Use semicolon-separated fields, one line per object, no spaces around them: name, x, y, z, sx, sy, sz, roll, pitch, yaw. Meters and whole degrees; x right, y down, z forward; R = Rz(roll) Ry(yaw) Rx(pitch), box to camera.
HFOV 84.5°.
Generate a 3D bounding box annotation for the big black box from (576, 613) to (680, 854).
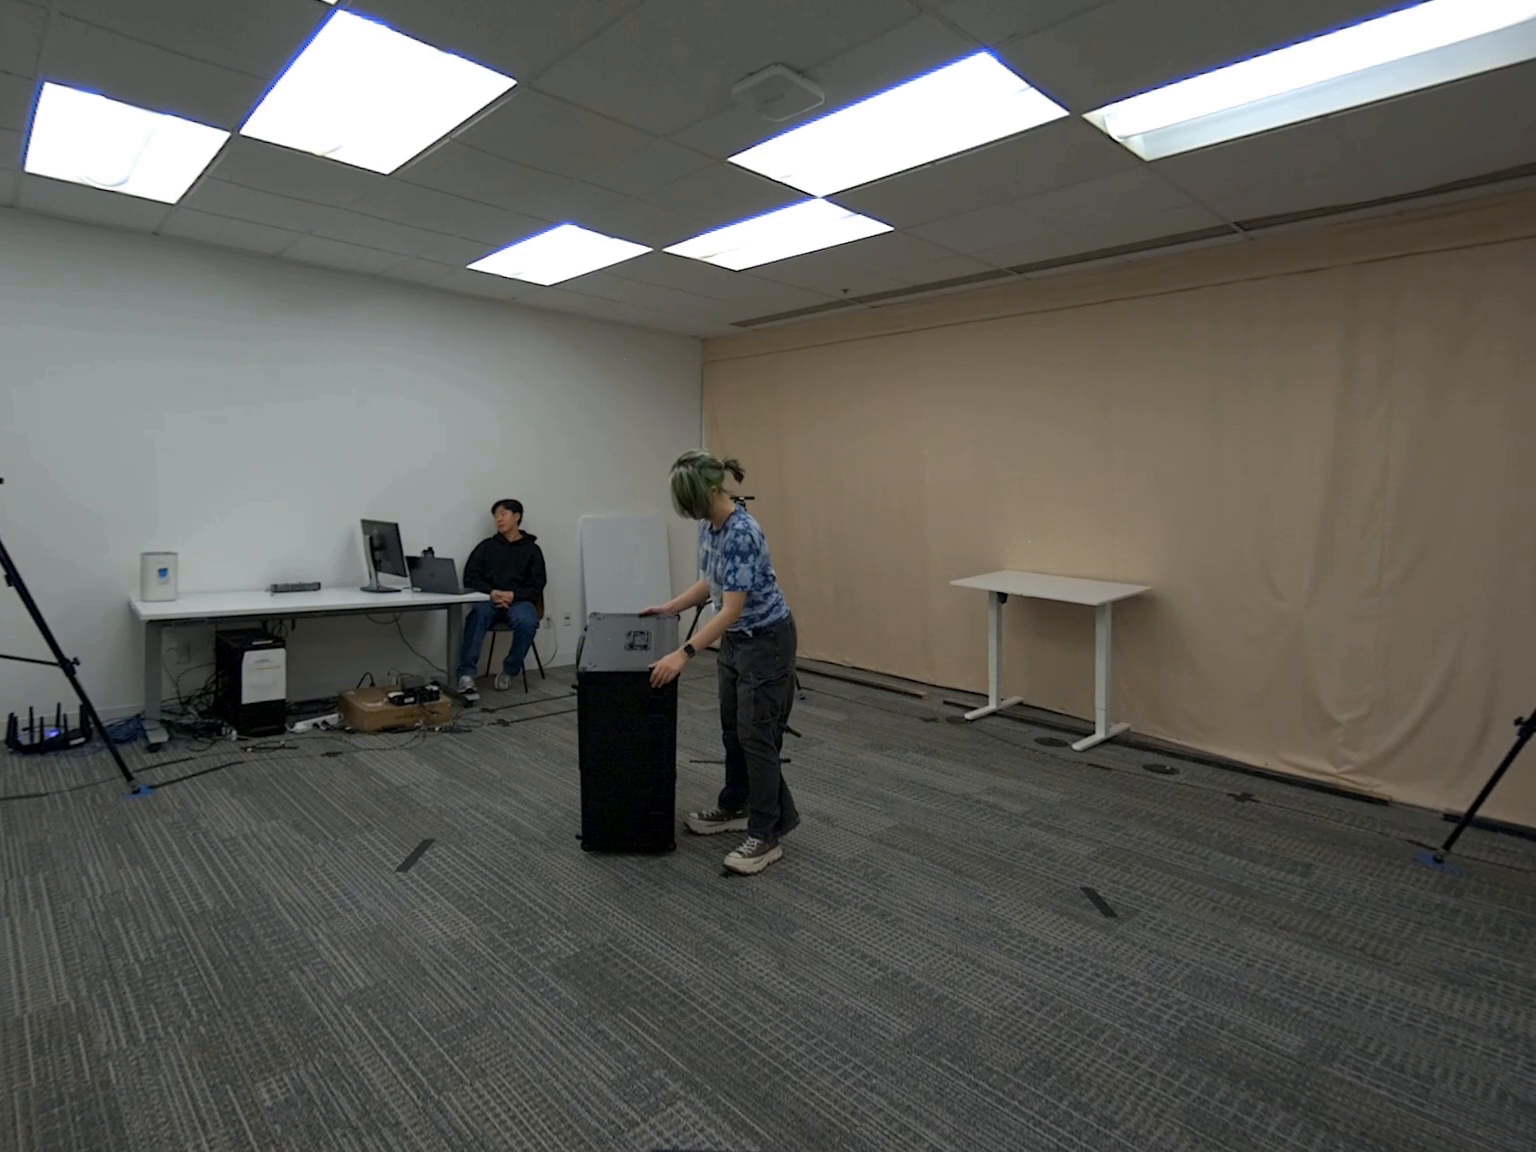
big black box;-0.553;0.638;3.314;0.395;0.849;0.530;0;21;-5
